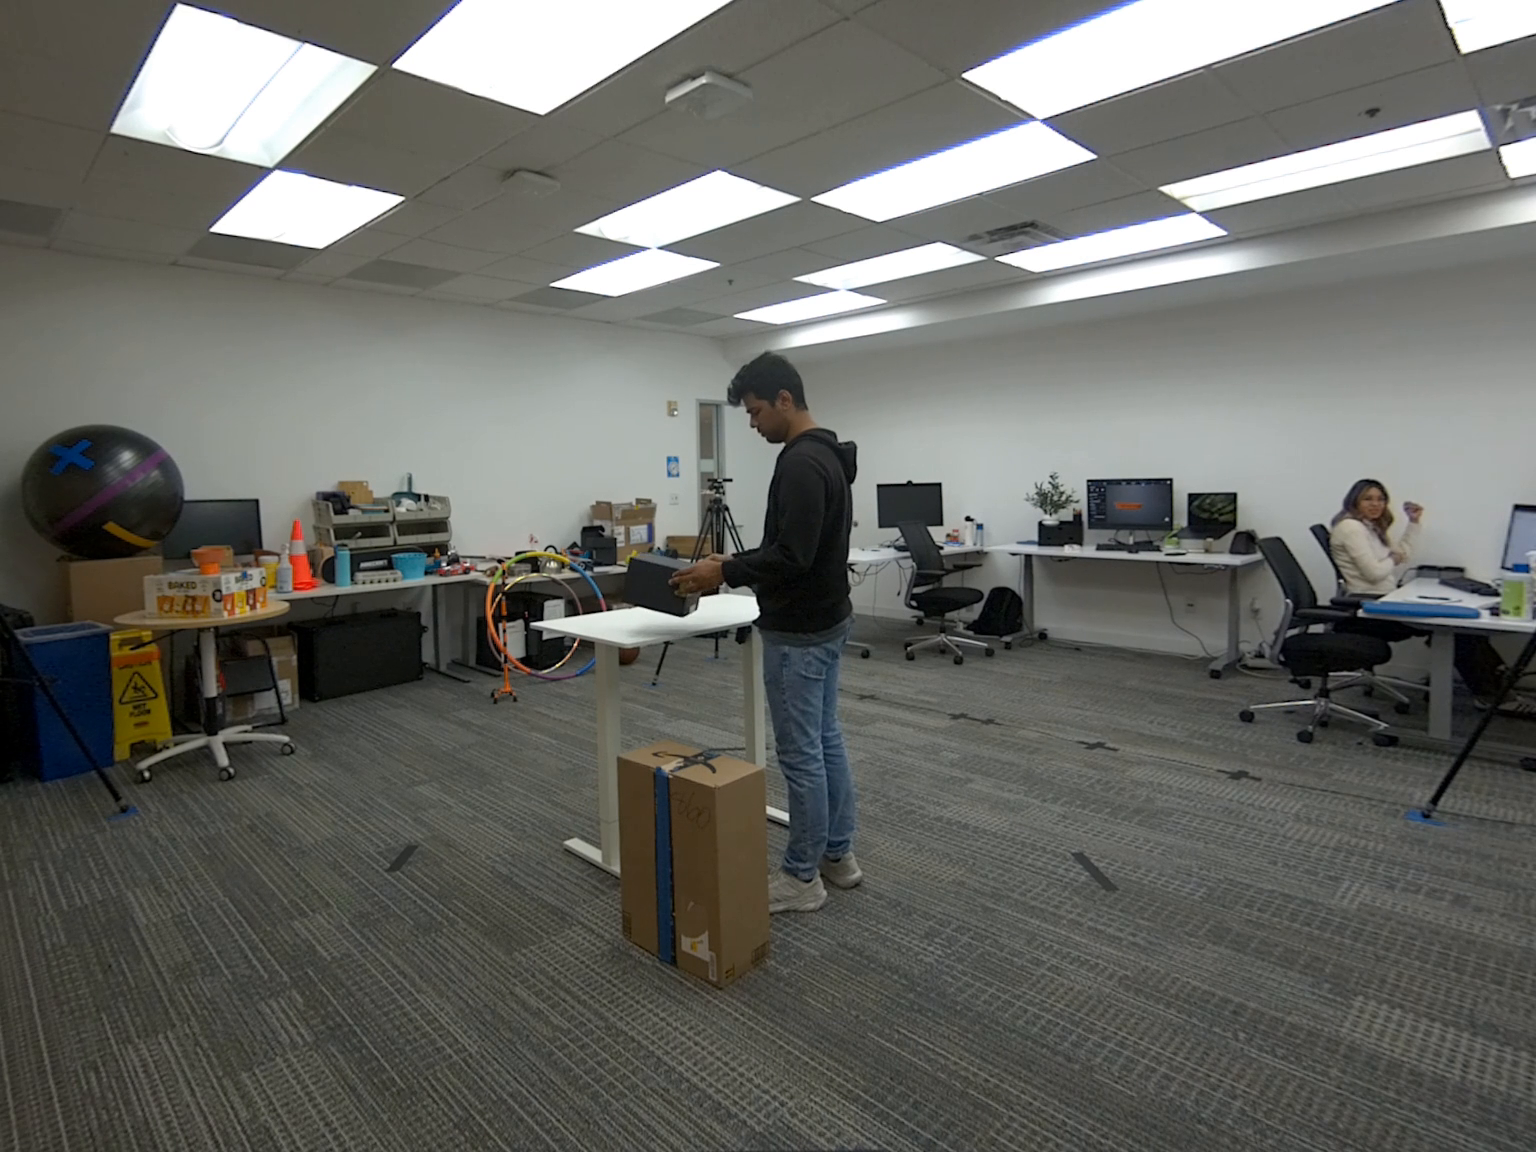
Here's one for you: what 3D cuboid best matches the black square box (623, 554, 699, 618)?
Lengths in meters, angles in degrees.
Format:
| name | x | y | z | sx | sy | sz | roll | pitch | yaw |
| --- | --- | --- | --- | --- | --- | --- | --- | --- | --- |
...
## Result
| name | x | y | z | sx | sy | sz | roll | pitch | yaw |
| --- | --- | --- | --- | --- | --- | --- | --- | --- | --- |
| black square box | -0.333 | 0.031 | 2.893 | 0.219 | 0.155 | 0.226 | 10 | 6 | 8 |
